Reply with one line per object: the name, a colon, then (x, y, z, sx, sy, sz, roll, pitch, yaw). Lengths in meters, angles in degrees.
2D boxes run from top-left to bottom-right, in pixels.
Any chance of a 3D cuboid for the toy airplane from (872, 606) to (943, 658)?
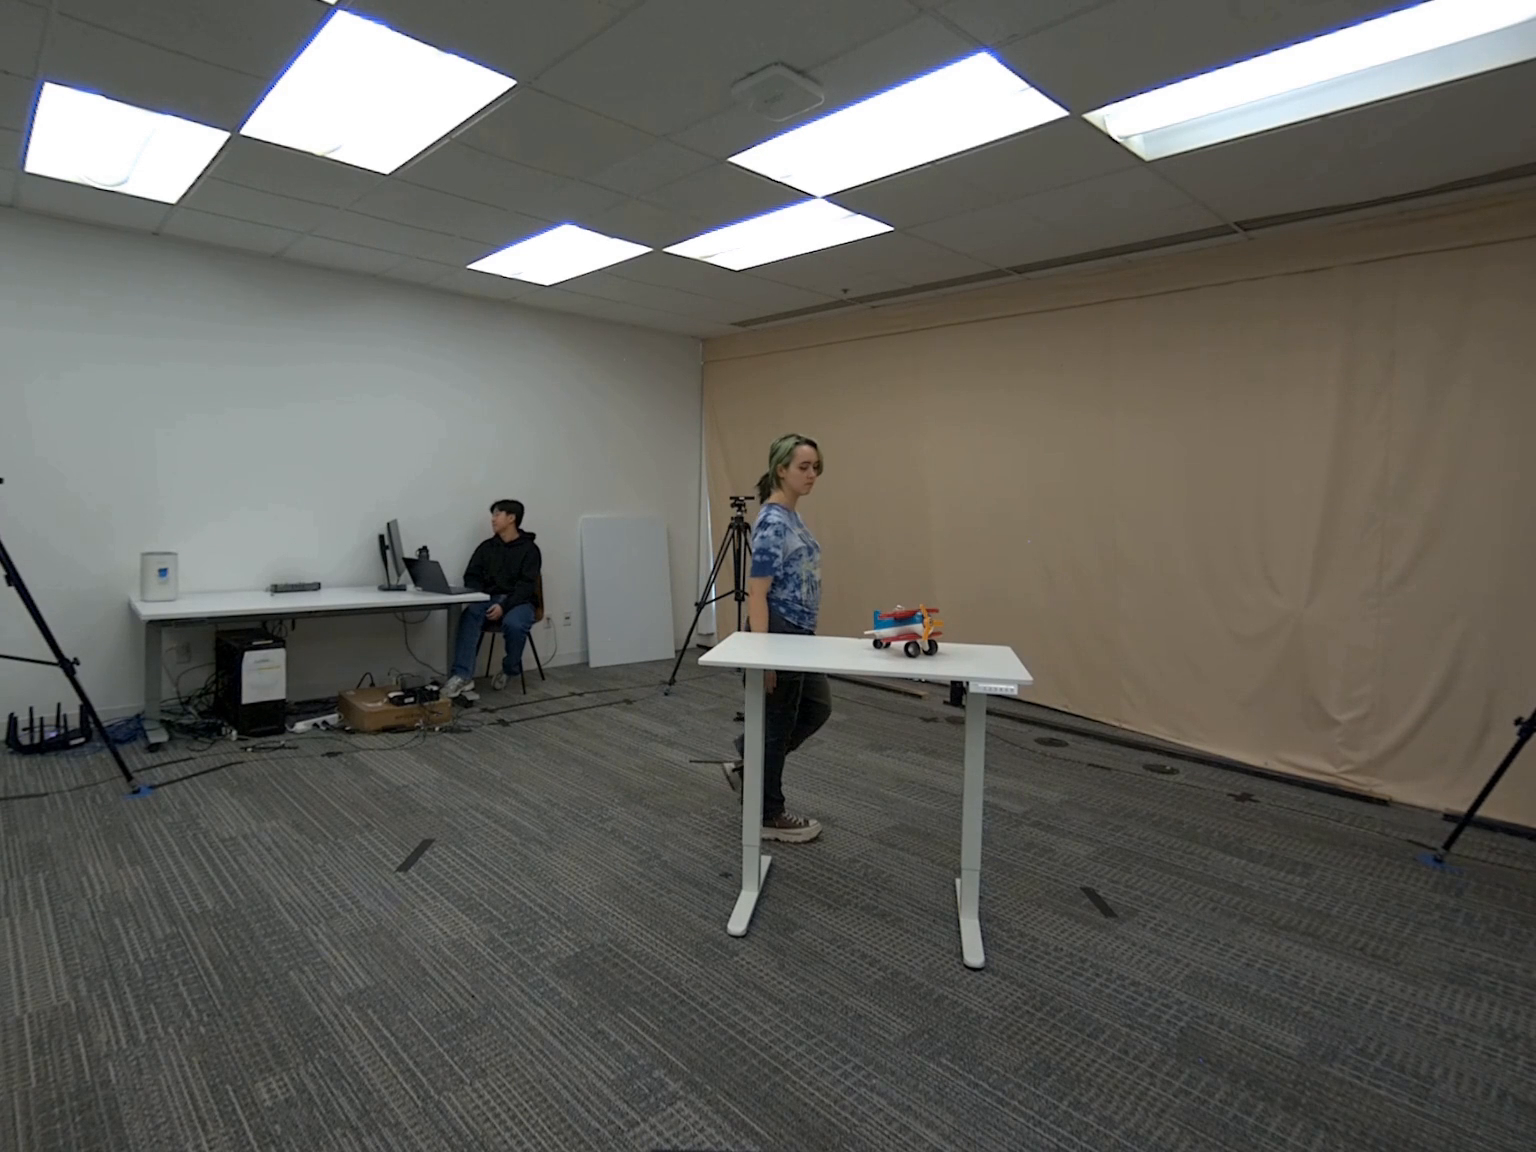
toy airplane: (0.443, 0.186, 2.826, 0.264, 0.156, 0.247, 3, 4, 24)
